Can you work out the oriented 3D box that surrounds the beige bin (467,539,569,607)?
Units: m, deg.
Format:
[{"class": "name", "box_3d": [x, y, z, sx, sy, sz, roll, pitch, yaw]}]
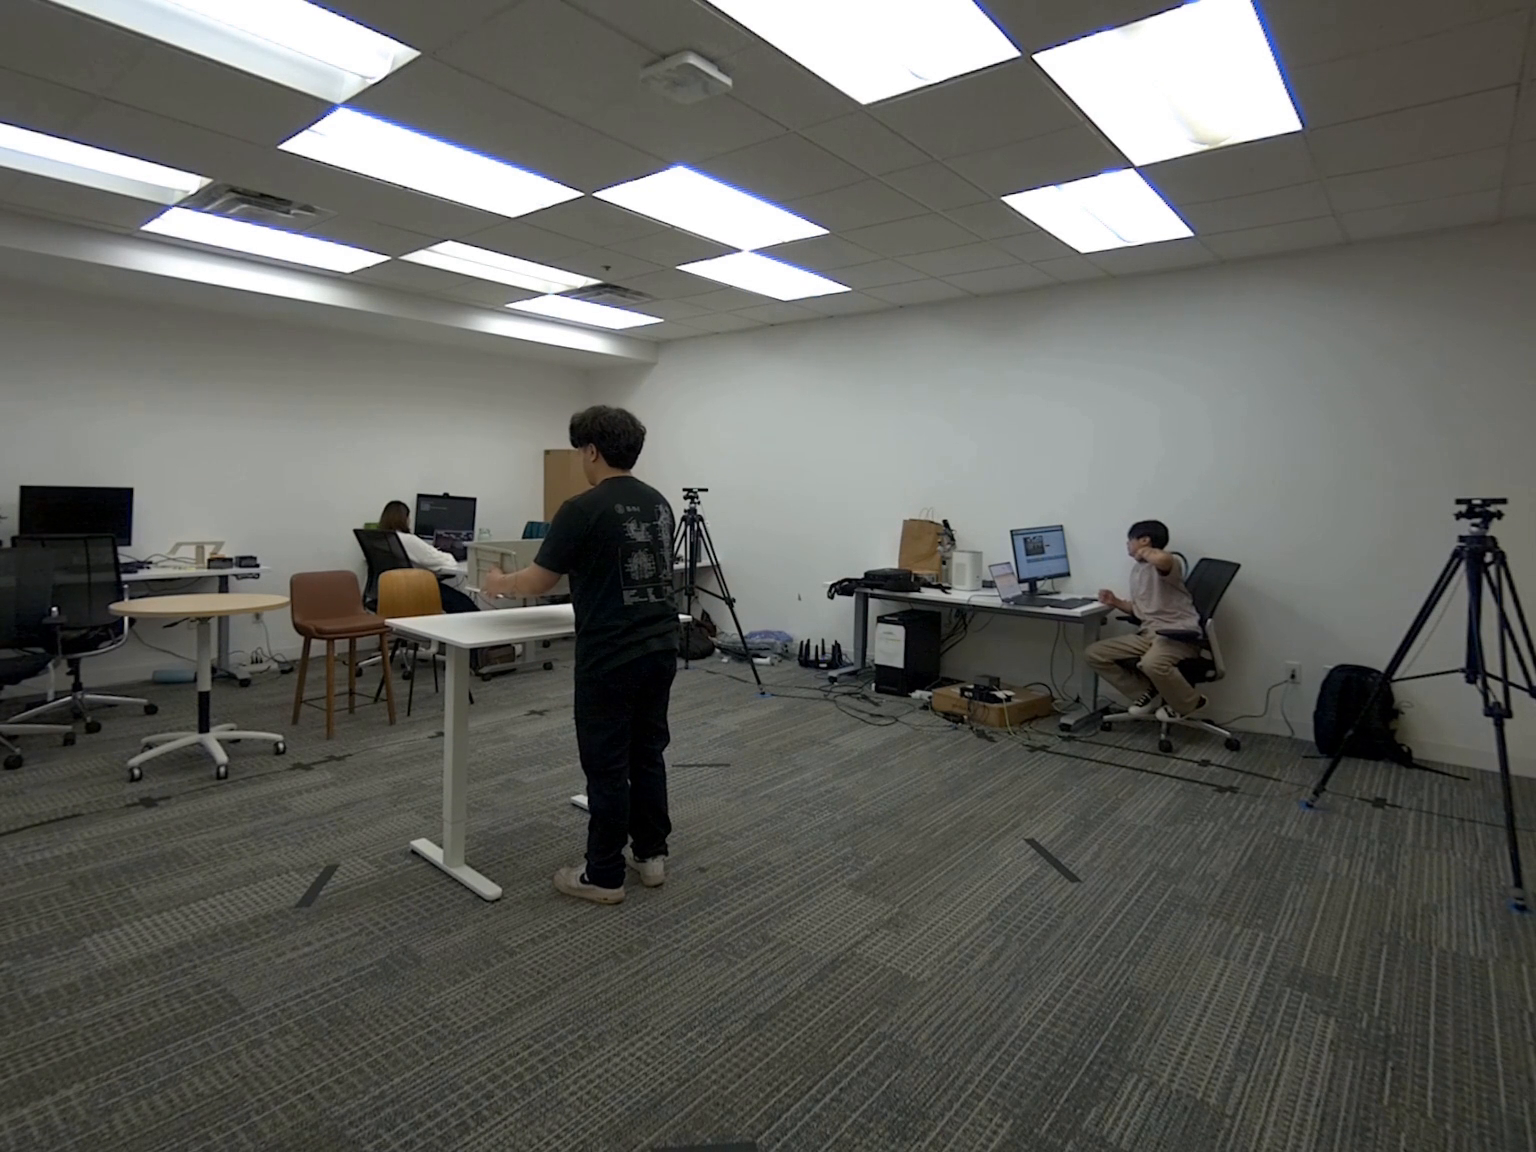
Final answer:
[{"class": "beige bin", "box_3d": [-0.894, -0.029, 3.260, 0.390, 0.188, 0.410, 6, 9, 42]}]
